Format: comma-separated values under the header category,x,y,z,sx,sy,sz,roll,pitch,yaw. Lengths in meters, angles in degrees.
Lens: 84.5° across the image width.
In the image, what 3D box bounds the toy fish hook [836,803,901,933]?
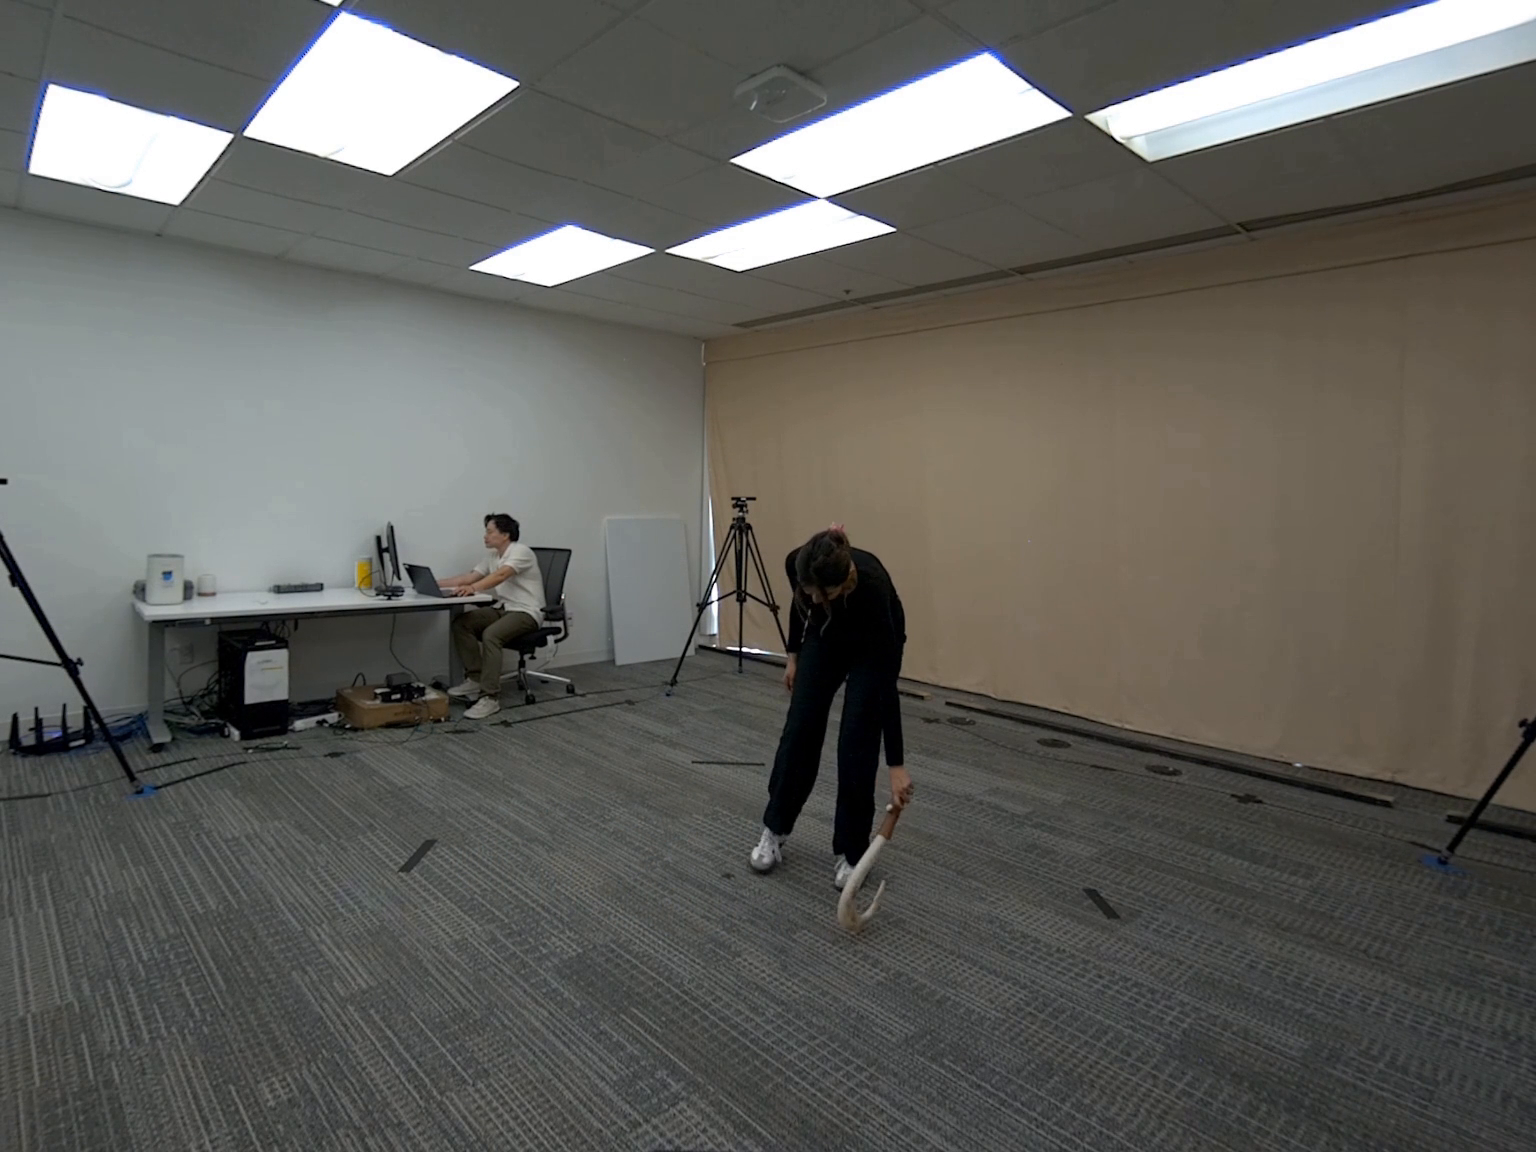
category,x,y,z,sx,sy,sz,roll,pitch,yaw
toy fish hook,0.353,0.919,2.756,0.049,0.509,0.217,12,-23,38
